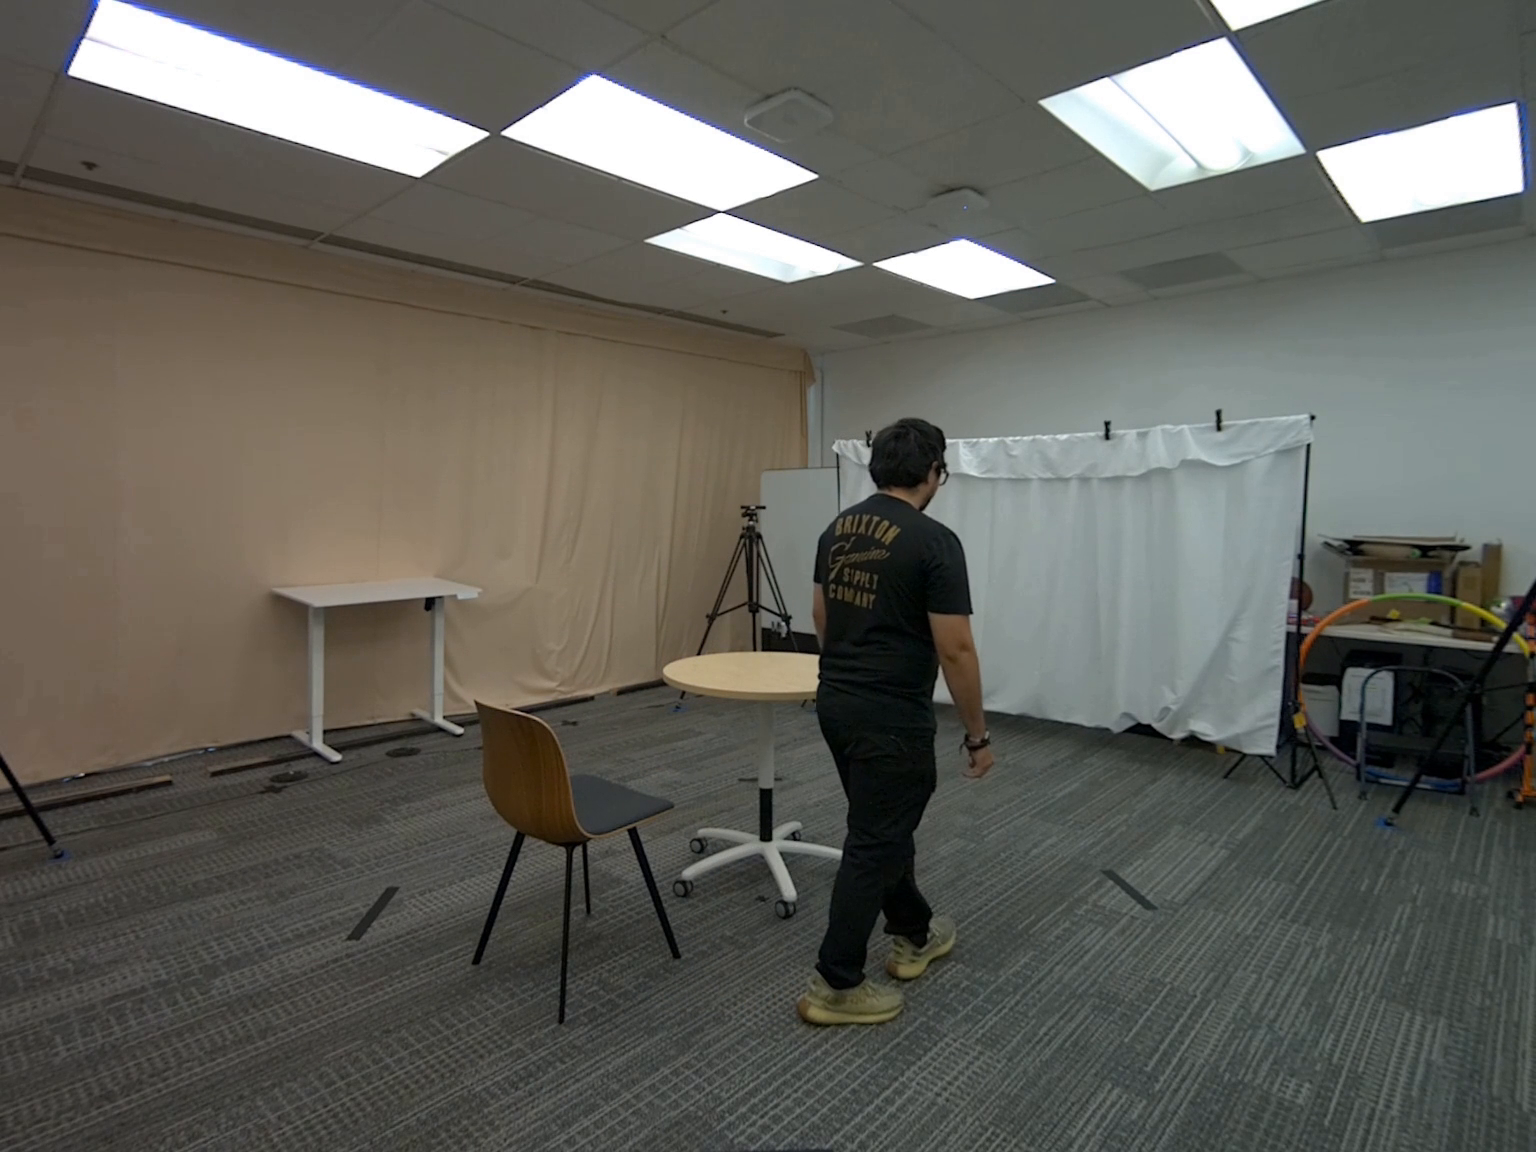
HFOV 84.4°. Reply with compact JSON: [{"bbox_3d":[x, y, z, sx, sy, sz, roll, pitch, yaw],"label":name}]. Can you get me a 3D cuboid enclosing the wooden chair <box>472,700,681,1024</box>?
[{"bbox_3d":[-0.581,0.754,2.558,0.494,0.874,0.508,2,8,41],"label":"wooden chair"}]
